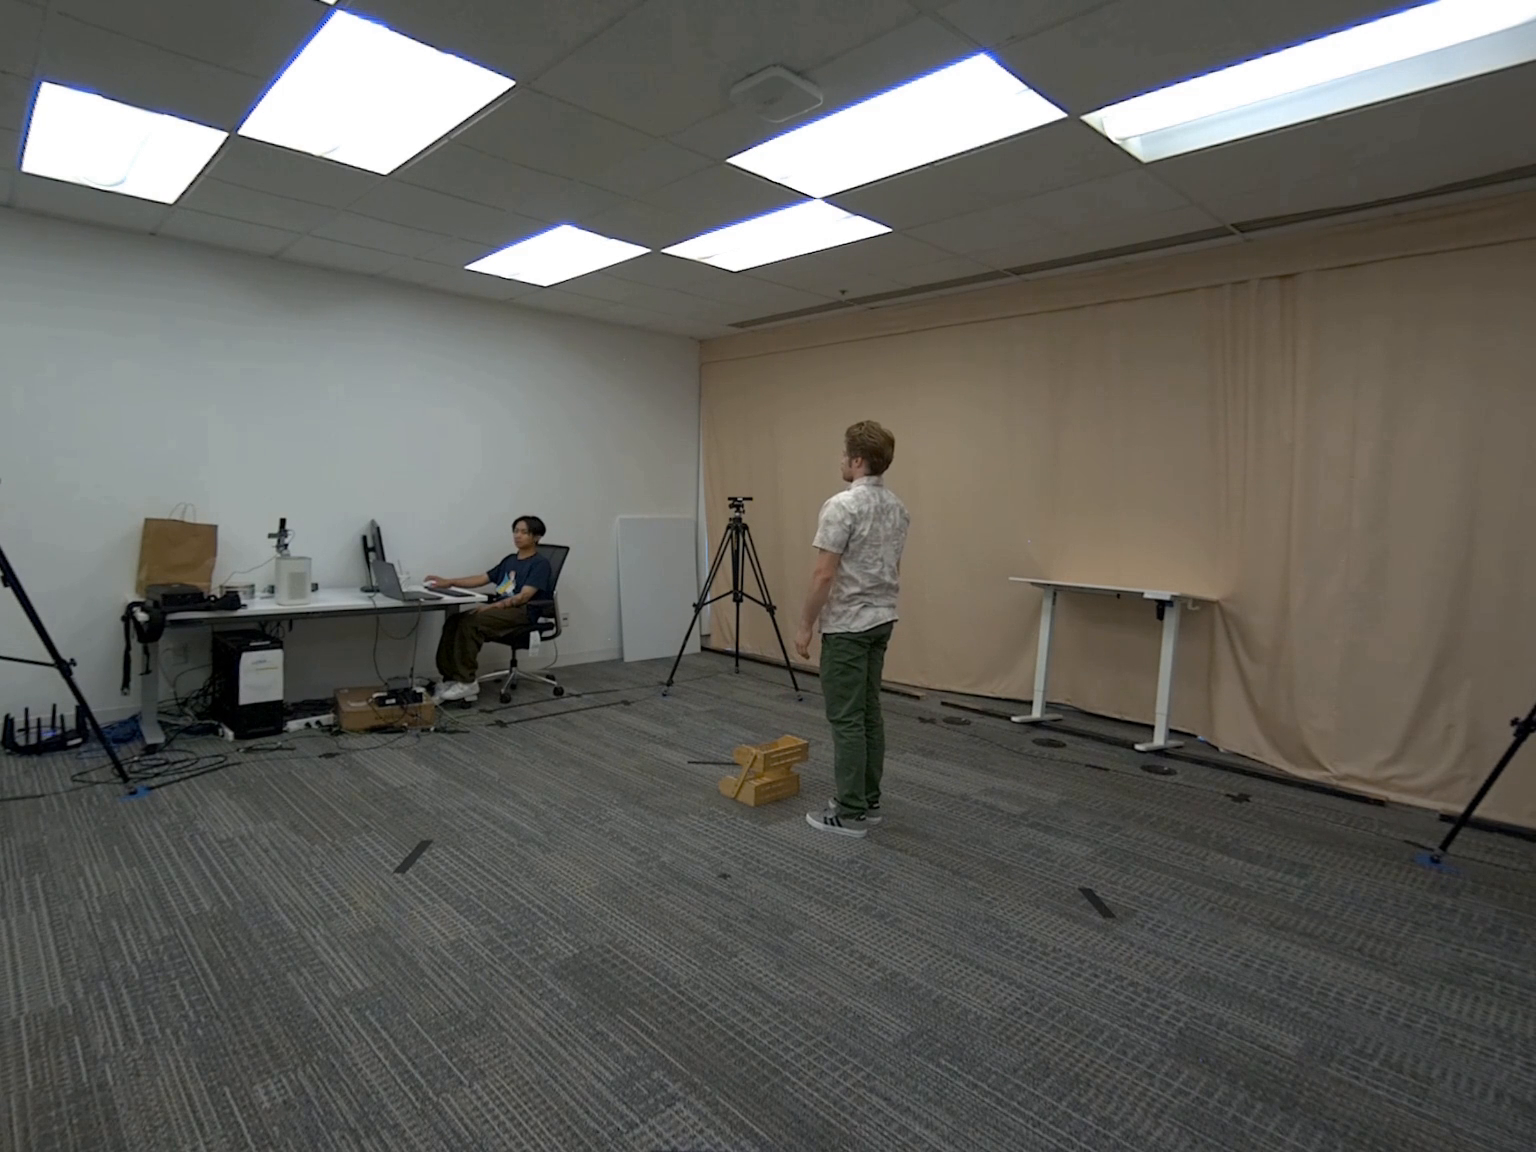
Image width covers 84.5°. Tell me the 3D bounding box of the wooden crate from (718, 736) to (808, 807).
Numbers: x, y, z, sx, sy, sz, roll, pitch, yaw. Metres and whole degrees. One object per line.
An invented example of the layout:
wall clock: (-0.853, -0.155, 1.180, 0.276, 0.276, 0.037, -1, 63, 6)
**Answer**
wooden crate: (-0.032, 0.902, 4.000, 0.317, 0.272, 0.310, -2, 7, -44)
